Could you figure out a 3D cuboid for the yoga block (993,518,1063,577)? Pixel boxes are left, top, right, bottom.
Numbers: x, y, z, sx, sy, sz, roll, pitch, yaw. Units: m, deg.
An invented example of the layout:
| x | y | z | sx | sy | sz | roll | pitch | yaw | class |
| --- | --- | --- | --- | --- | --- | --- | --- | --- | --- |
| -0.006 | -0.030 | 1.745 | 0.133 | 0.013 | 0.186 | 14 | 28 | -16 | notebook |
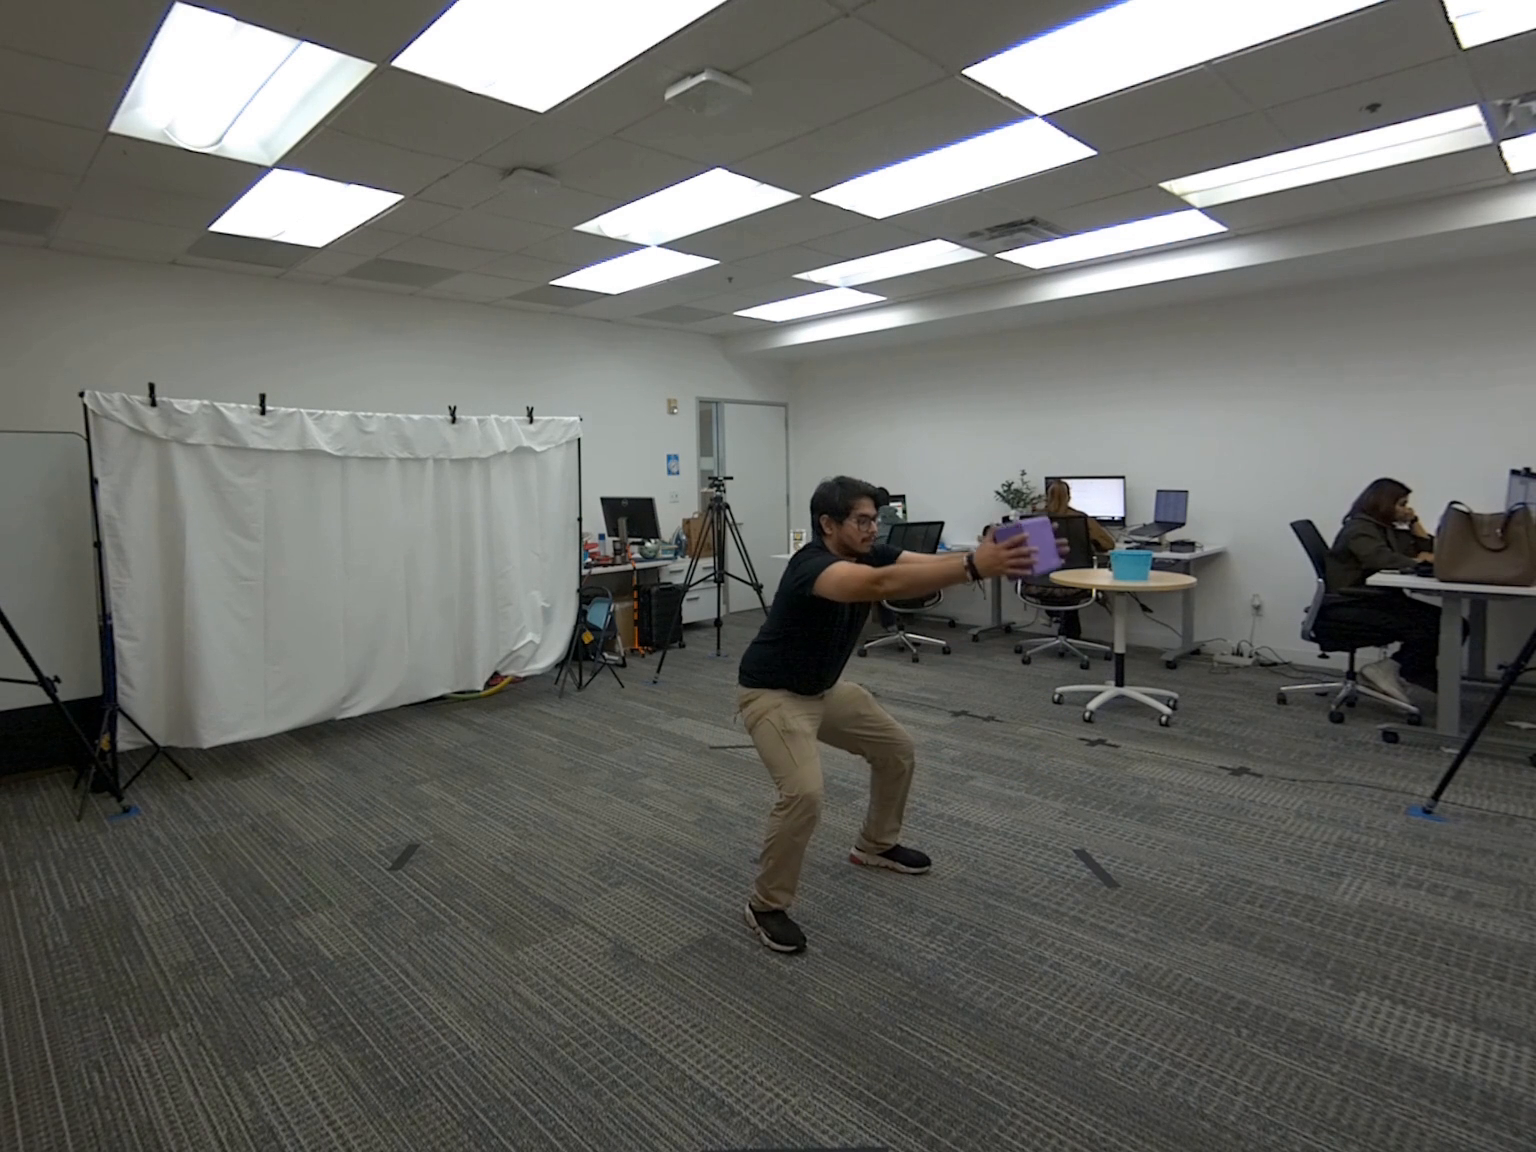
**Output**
| x | y | z | sx | sy | sz | roll | pitch | yaw | class |
| --- | --- | --- | --- | --- | --- | --- | --- | --- | --- |
| 0.687 | -0.076 | 2.291 | 0.078 | 0.149 | 0.225 | -13 | 1 | 30 | yoga block |
